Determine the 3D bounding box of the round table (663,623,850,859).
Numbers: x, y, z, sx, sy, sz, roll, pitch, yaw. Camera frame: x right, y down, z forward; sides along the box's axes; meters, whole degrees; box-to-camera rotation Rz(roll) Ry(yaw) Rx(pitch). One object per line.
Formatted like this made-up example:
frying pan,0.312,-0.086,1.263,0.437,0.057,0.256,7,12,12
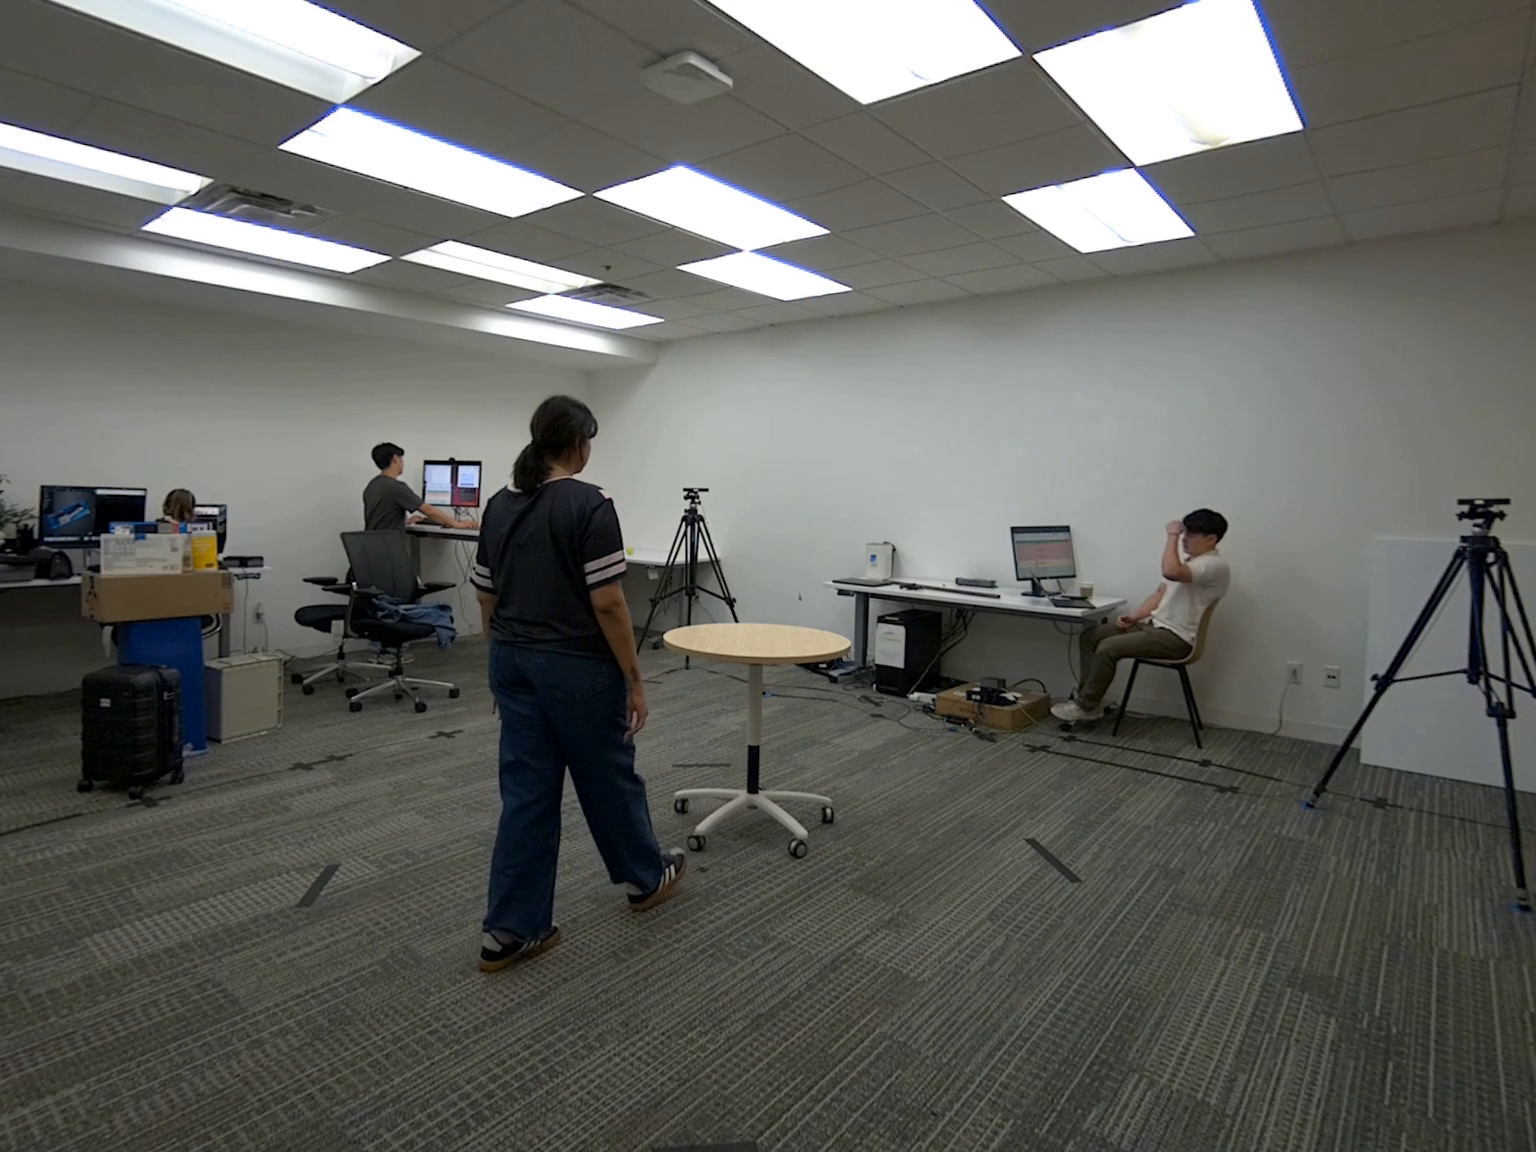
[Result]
round table,-0.080,0.641,3.500,0.784,0.784,0.788,2,4,-2
